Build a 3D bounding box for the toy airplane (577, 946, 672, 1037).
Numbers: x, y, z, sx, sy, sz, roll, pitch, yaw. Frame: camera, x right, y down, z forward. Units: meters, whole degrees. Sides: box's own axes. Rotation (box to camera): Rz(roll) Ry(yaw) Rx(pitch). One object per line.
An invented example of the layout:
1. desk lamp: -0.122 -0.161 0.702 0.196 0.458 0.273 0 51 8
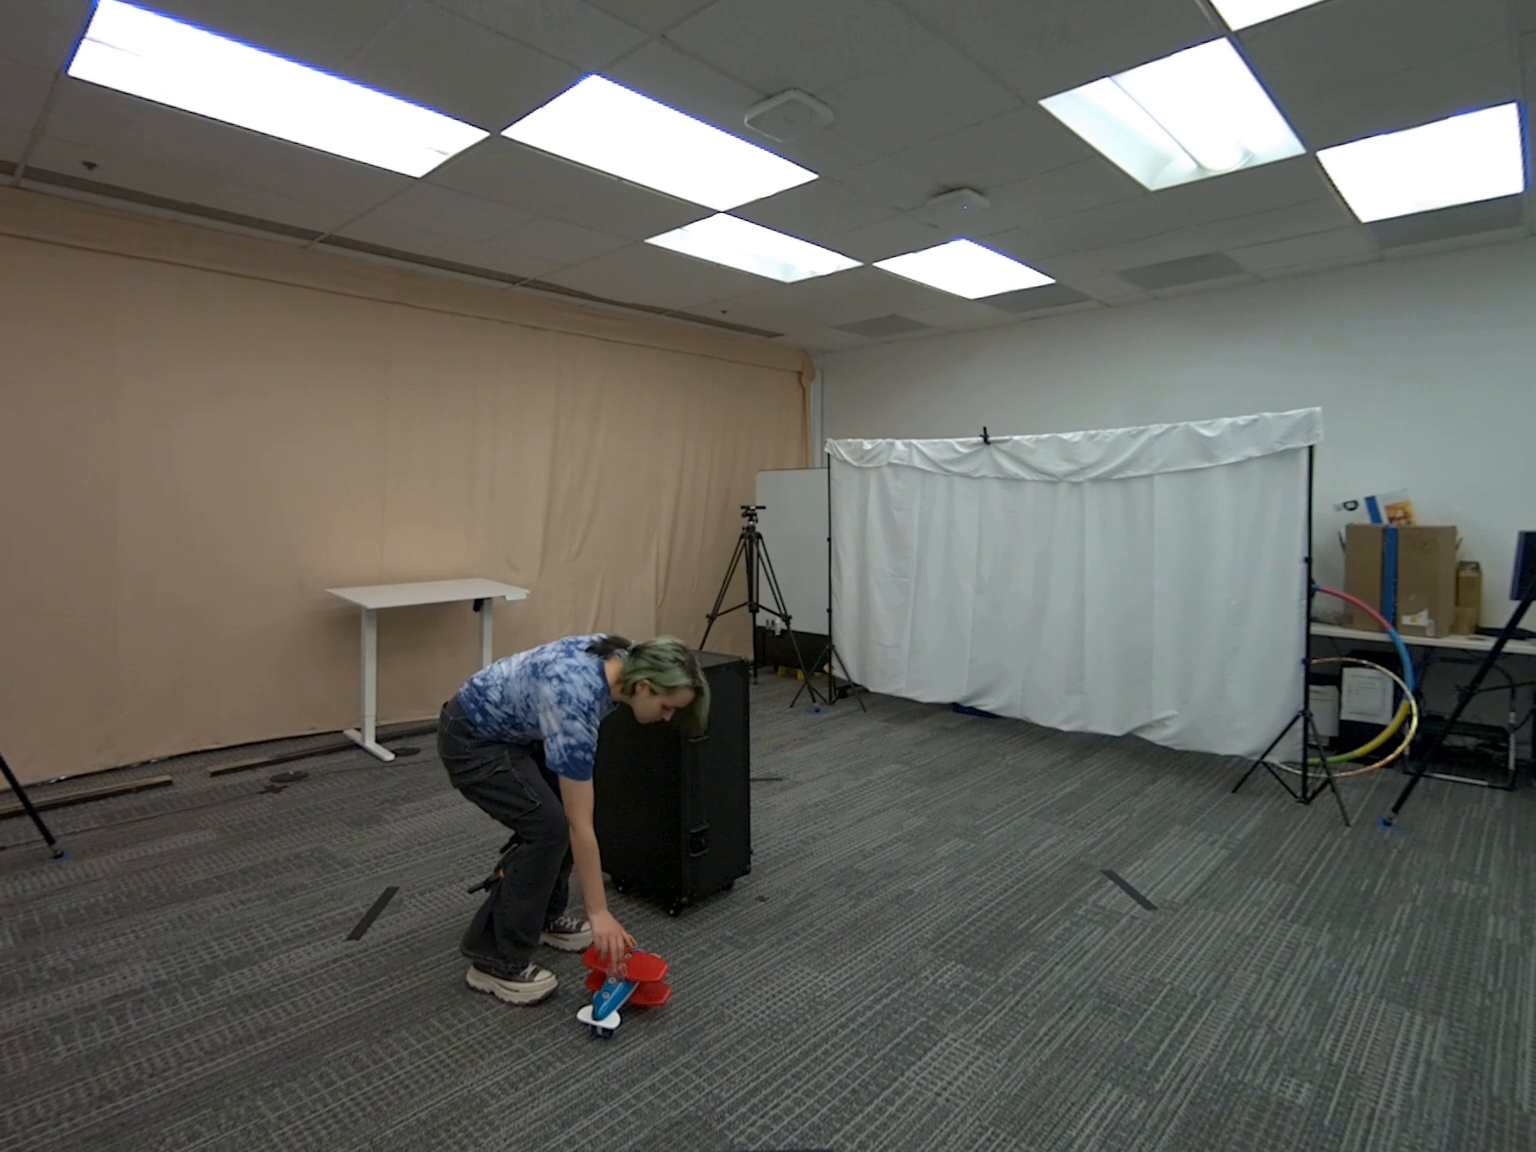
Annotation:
1. toy airplane: -0.385 1.119 2.291 0.249 0.156 0.261 0 4 -7
